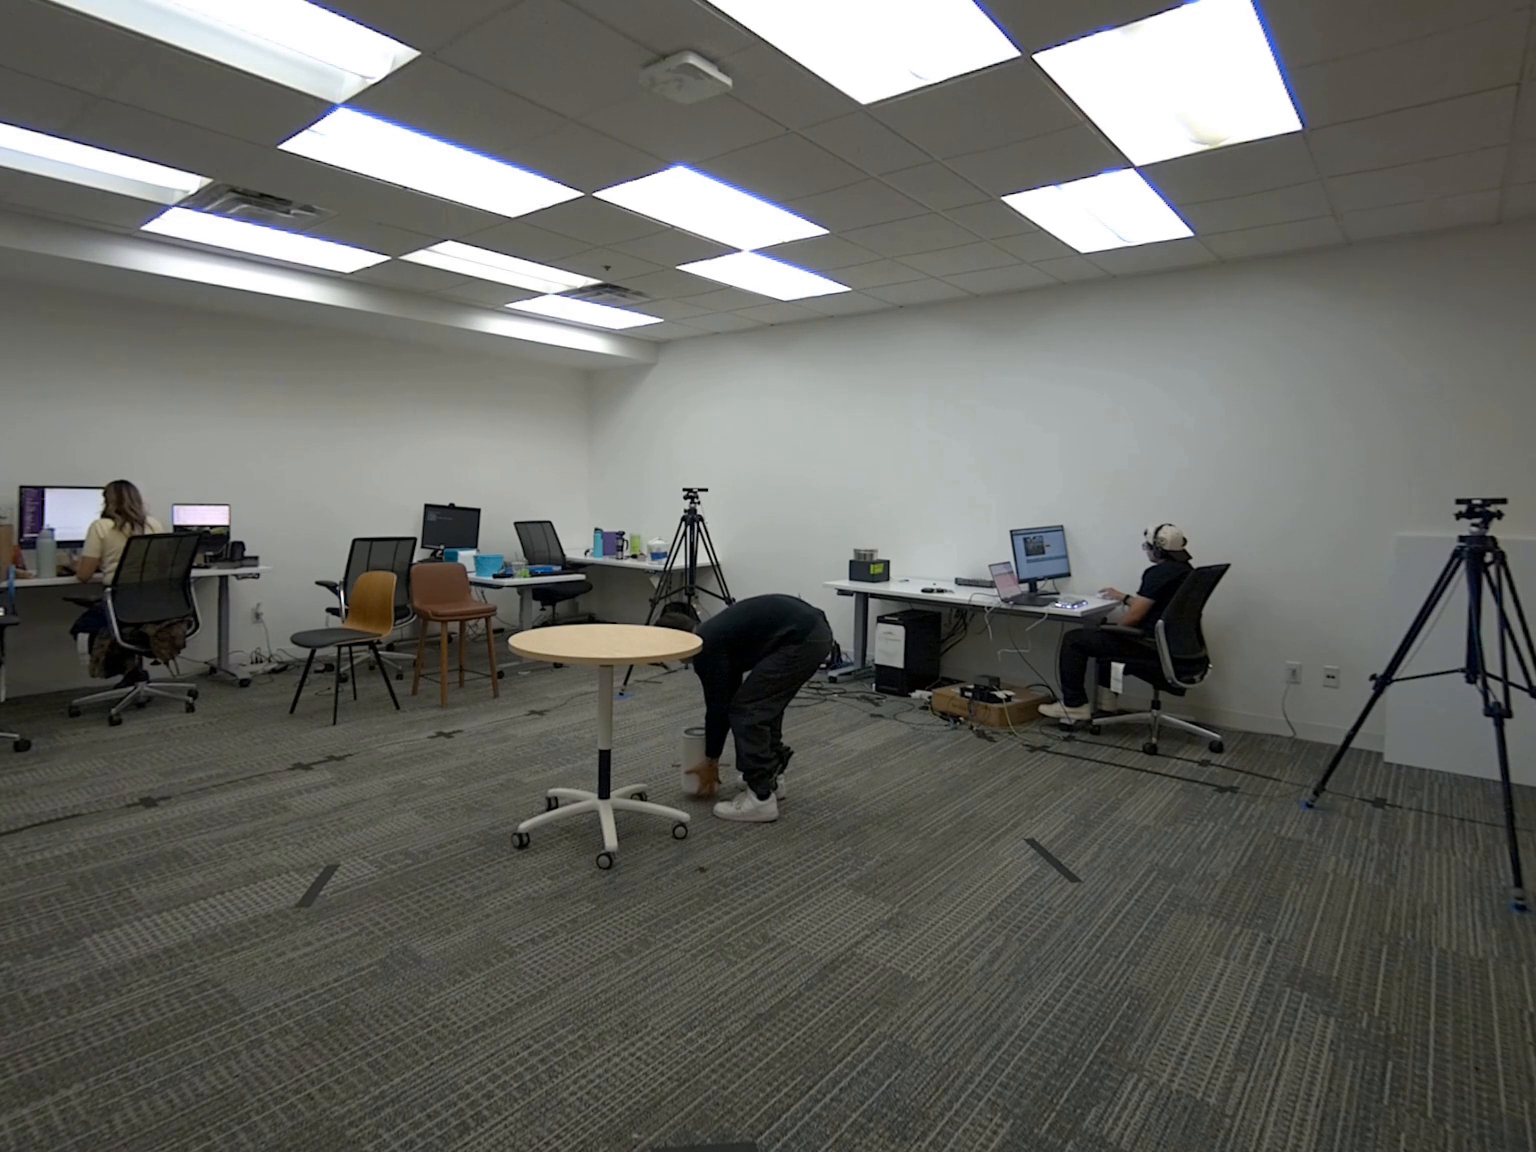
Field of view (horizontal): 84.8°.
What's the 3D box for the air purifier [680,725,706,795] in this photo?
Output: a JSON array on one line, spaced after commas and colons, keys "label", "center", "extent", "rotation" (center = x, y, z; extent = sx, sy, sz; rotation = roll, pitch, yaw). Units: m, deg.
[{"label": "air purifier", "center": [-0.322, 0.823, 3.850], "extent": [0.170, 0.264, 0.174], "rotation": [-1, 6, -8]}]
